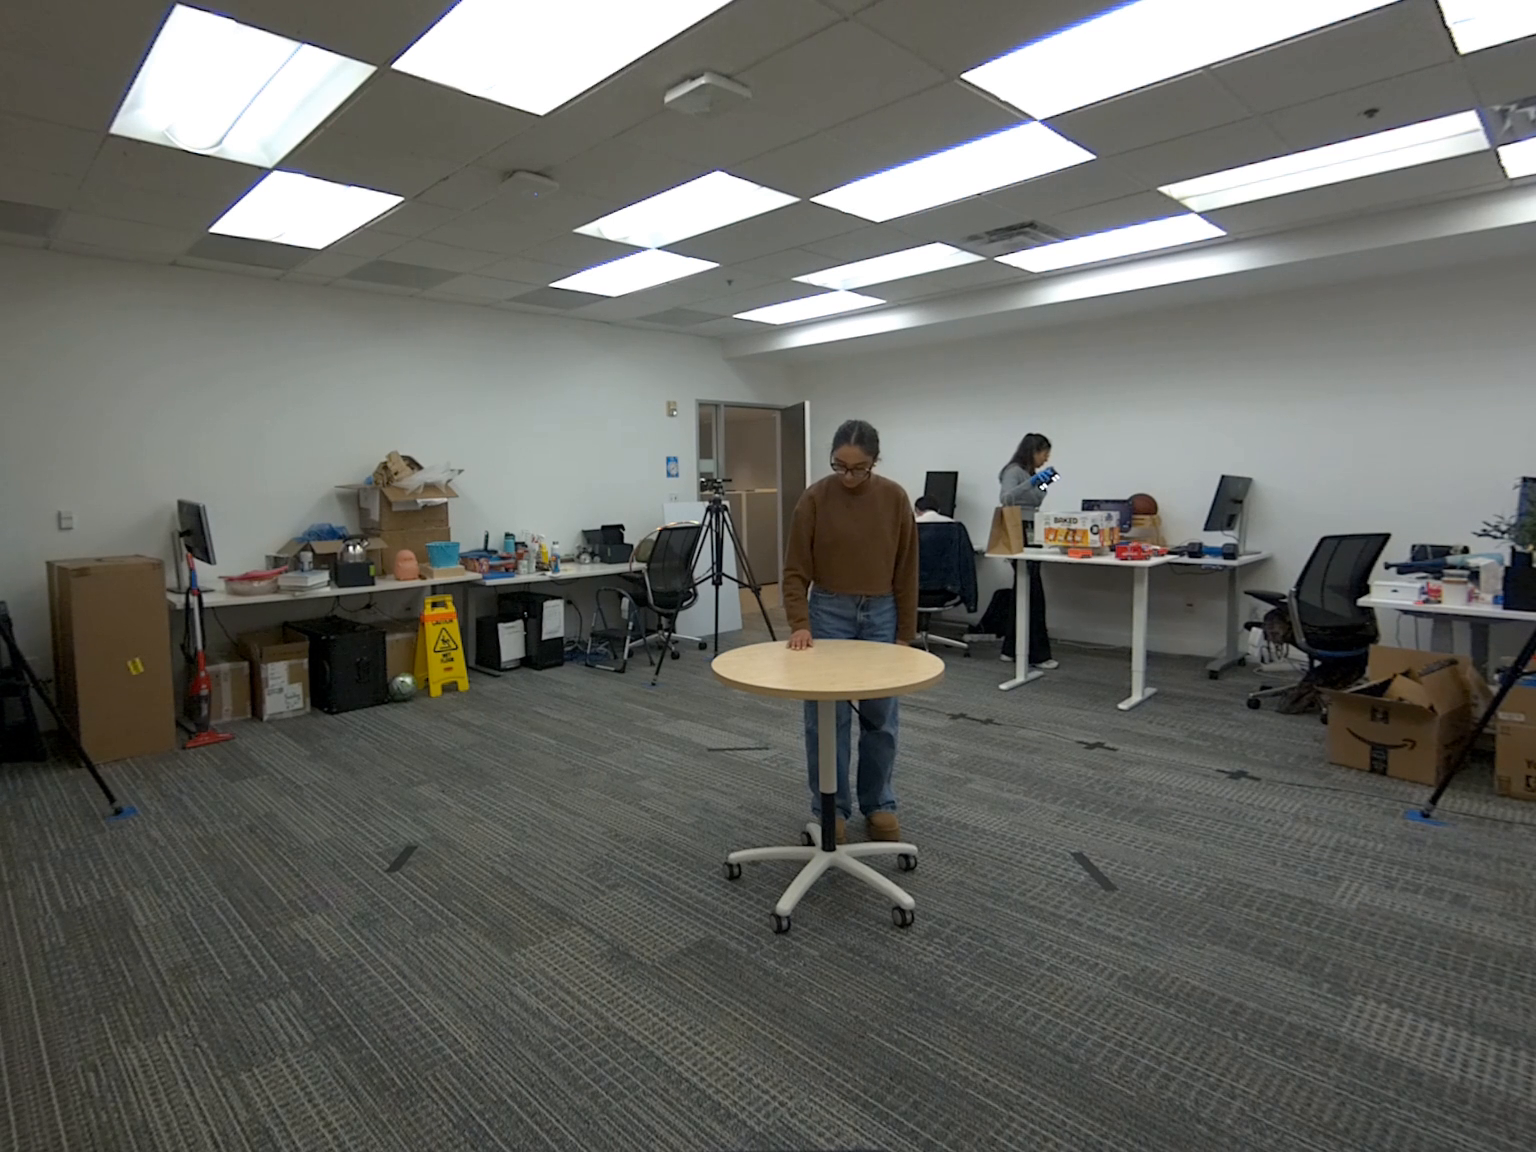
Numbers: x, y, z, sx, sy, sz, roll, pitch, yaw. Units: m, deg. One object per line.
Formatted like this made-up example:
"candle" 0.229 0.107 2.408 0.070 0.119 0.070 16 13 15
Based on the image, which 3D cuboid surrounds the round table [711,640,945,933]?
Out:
"round table" 0.205 0.680 2.872 0.763 0.790 0.768 -1 5 -2
